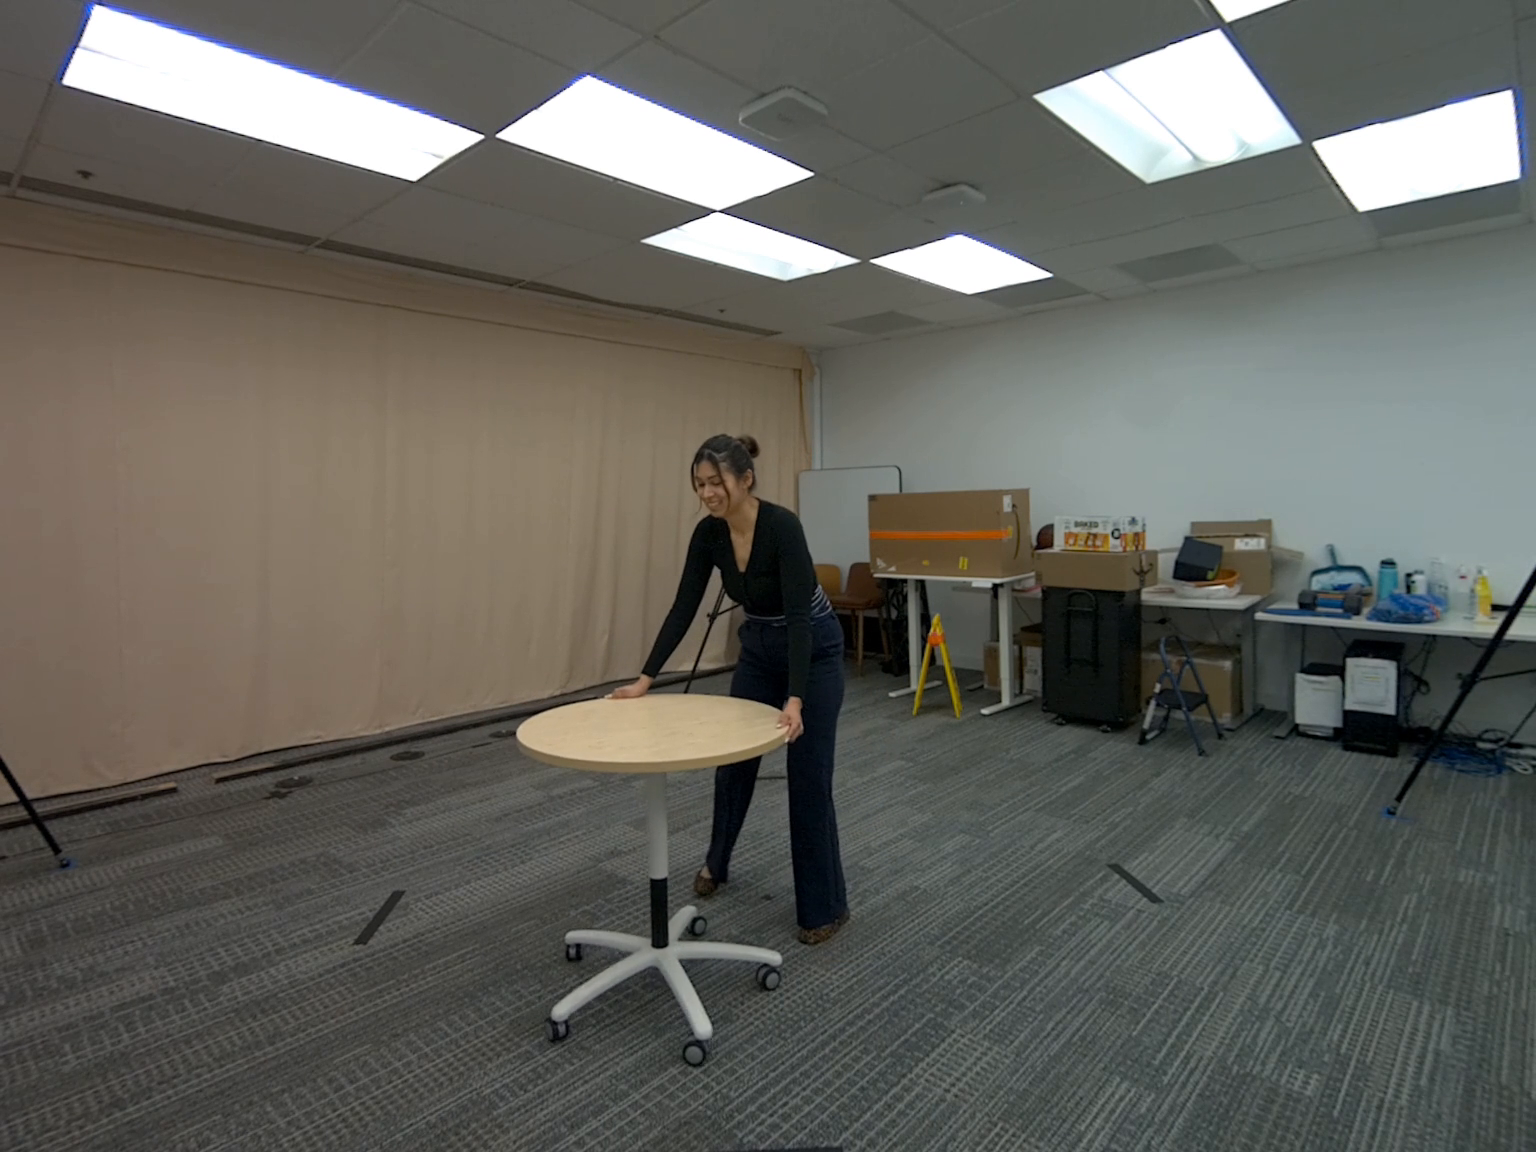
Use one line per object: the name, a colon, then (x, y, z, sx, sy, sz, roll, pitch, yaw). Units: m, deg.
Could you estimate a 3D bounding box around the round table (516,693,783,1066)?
round table: (-0.309, 0.807, 2.403, 0.763, 0.792, 0.766, -1, 4, -2)
